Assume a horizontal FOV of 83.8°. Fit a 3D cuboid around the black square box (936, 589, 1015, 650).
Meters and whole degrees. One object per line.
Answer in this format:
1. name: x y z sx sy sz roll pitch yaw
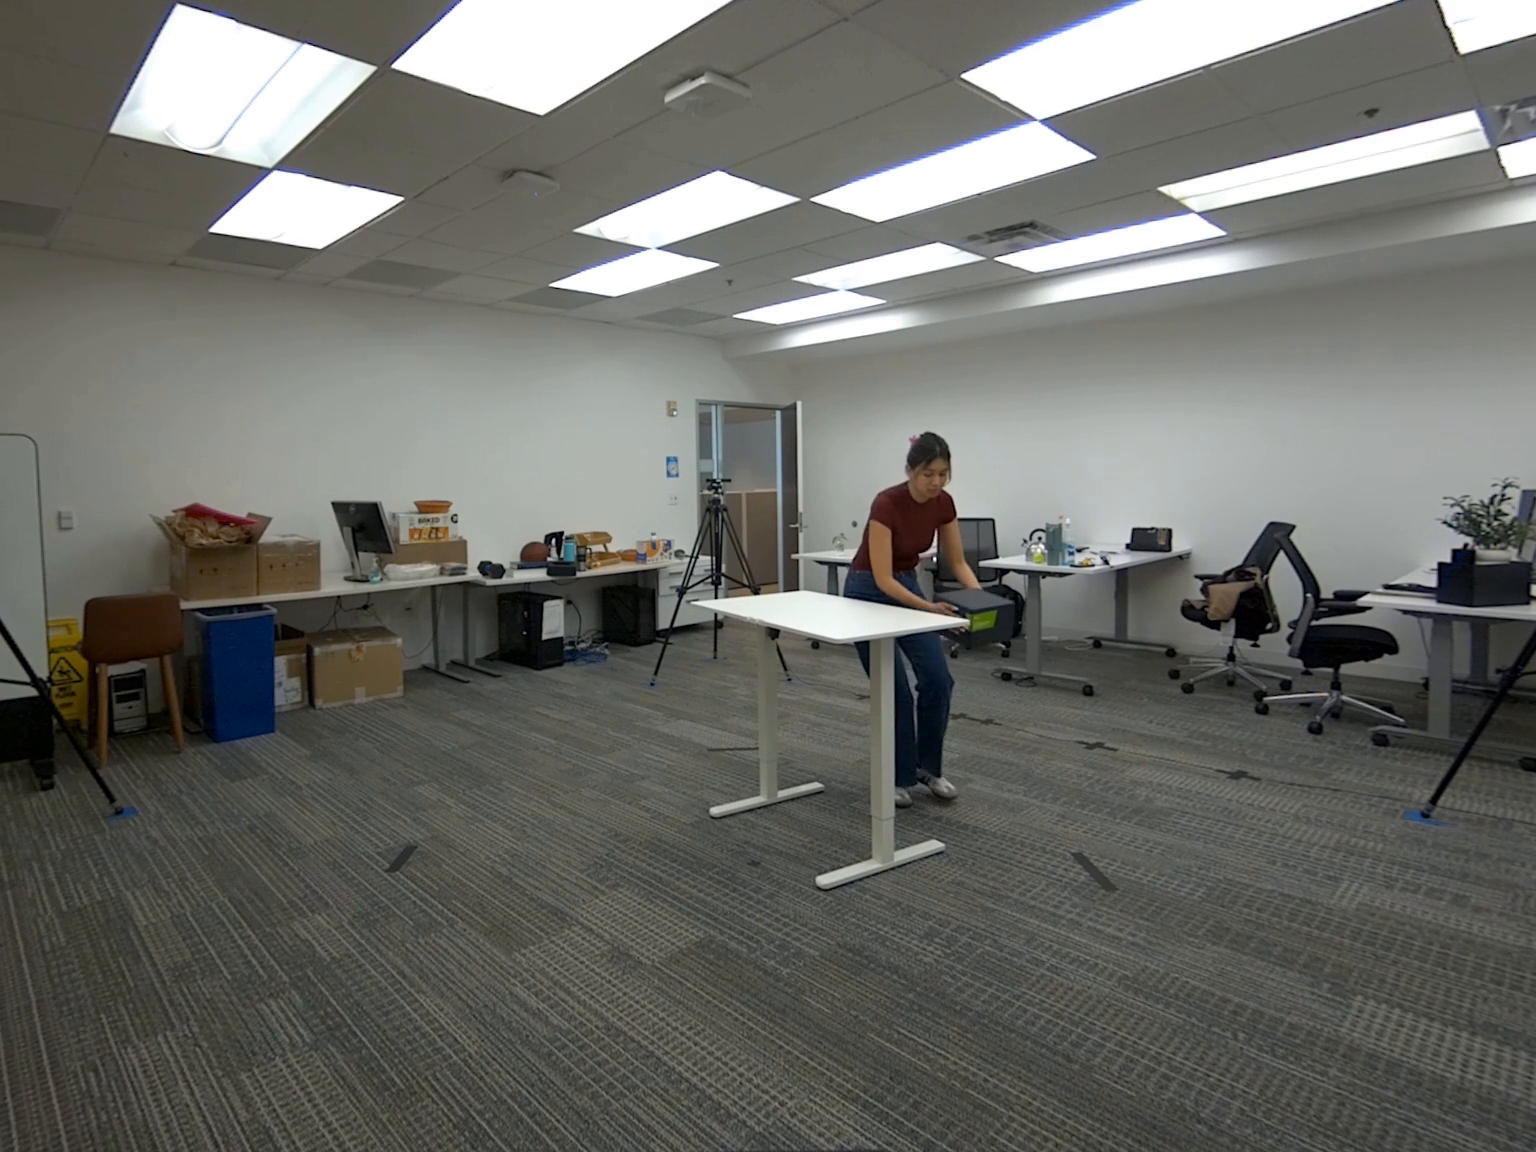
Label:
1. black square box: 0.793 0.169 3.350 0.223 0.154 0.225 -7 18 -31
